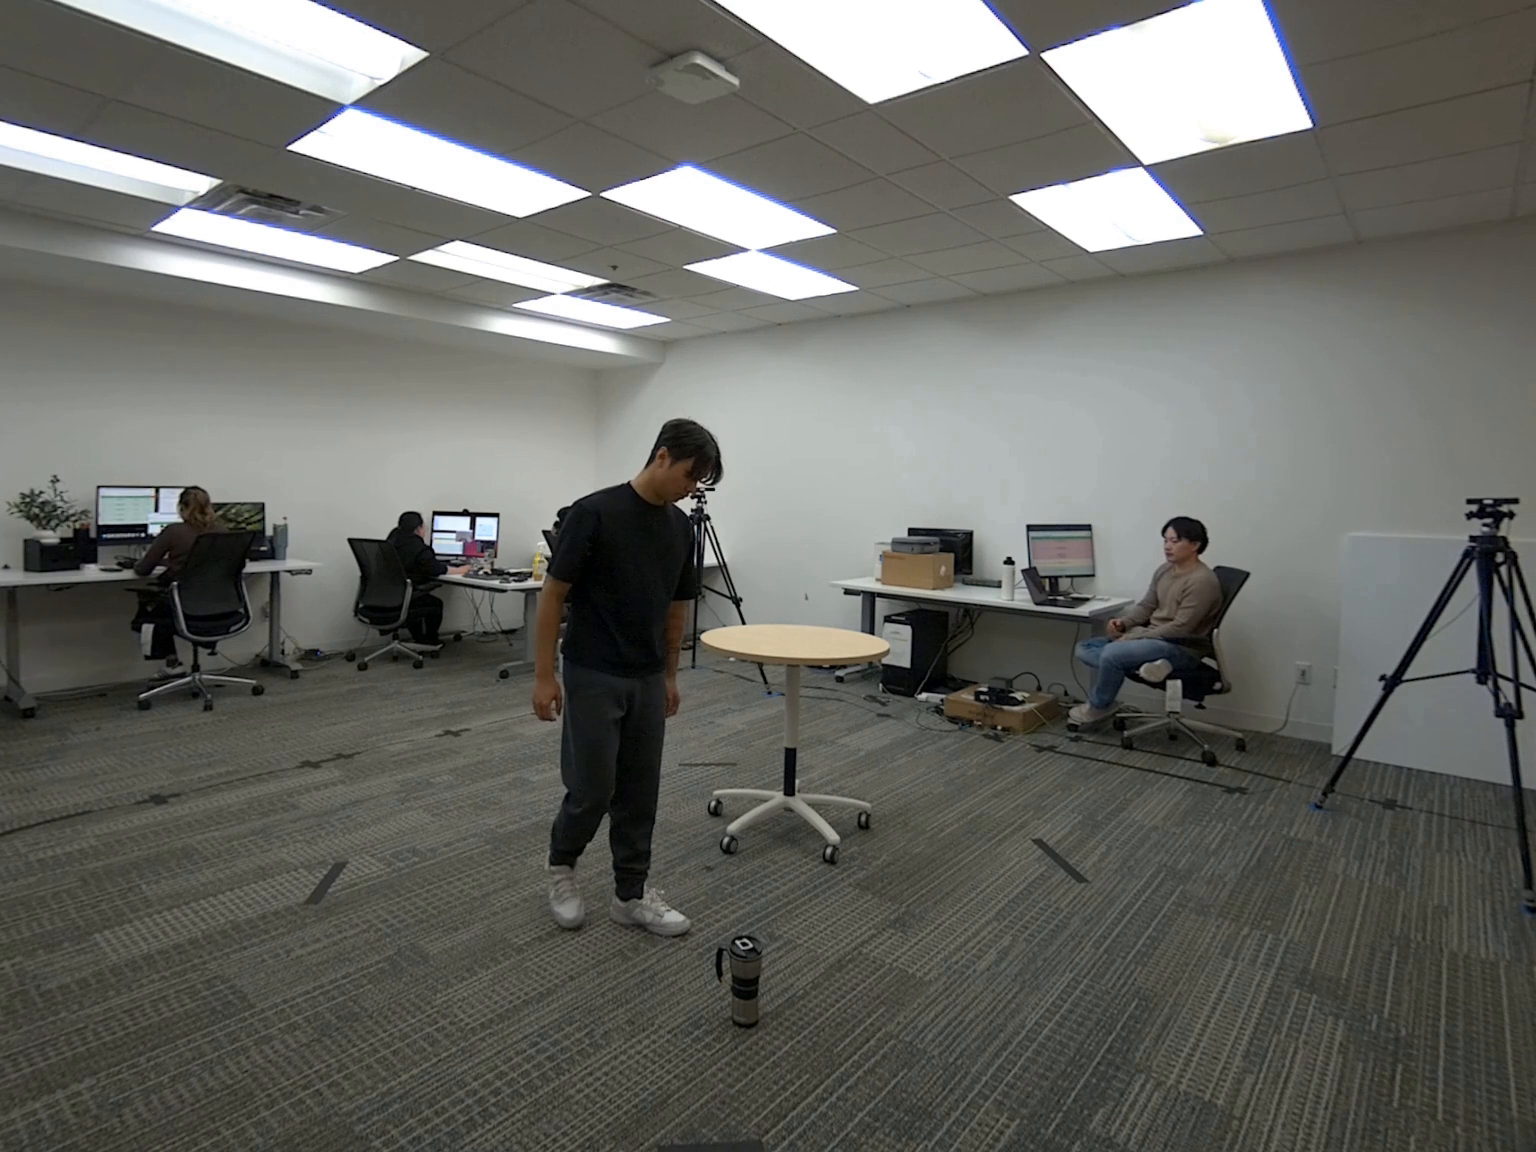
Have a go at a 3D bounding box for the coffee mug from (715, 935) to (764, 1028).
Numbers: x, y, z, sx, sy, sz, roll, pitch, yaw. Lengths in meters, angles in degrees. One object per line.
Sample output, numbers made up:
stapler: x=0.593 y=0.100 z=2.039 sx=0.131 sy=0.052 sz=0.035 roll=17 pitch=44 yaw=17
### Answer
coffee mug: x=-0.077 y=1.057 z=2.240 sx=0.126 sy=0.201 sz=0.085 roll=9 pitch=11 yaw=44
